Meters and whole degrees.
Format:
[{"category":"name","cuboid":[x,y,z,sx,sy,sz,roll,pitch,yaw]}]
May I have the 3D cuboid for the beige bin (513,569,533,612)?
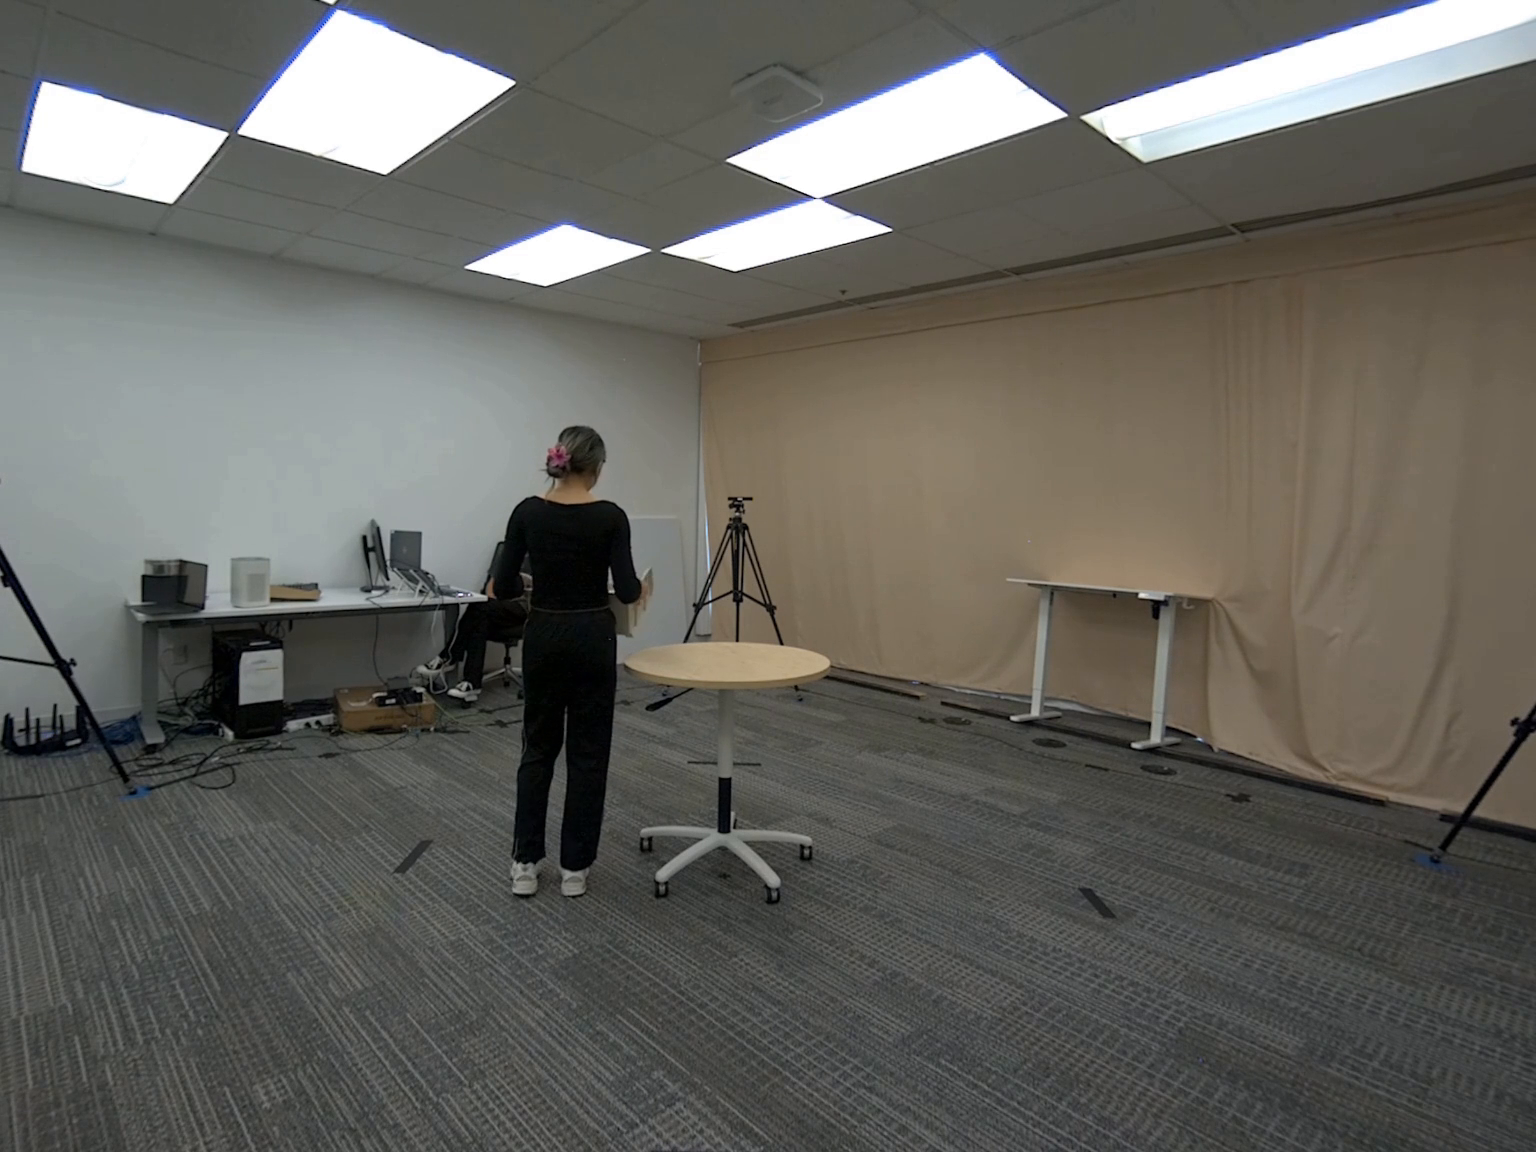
[{"category":"beige bin","cuboid":[-0.691,0.087,3.301,0.425,0.186,0.380,2,19,7]}]
